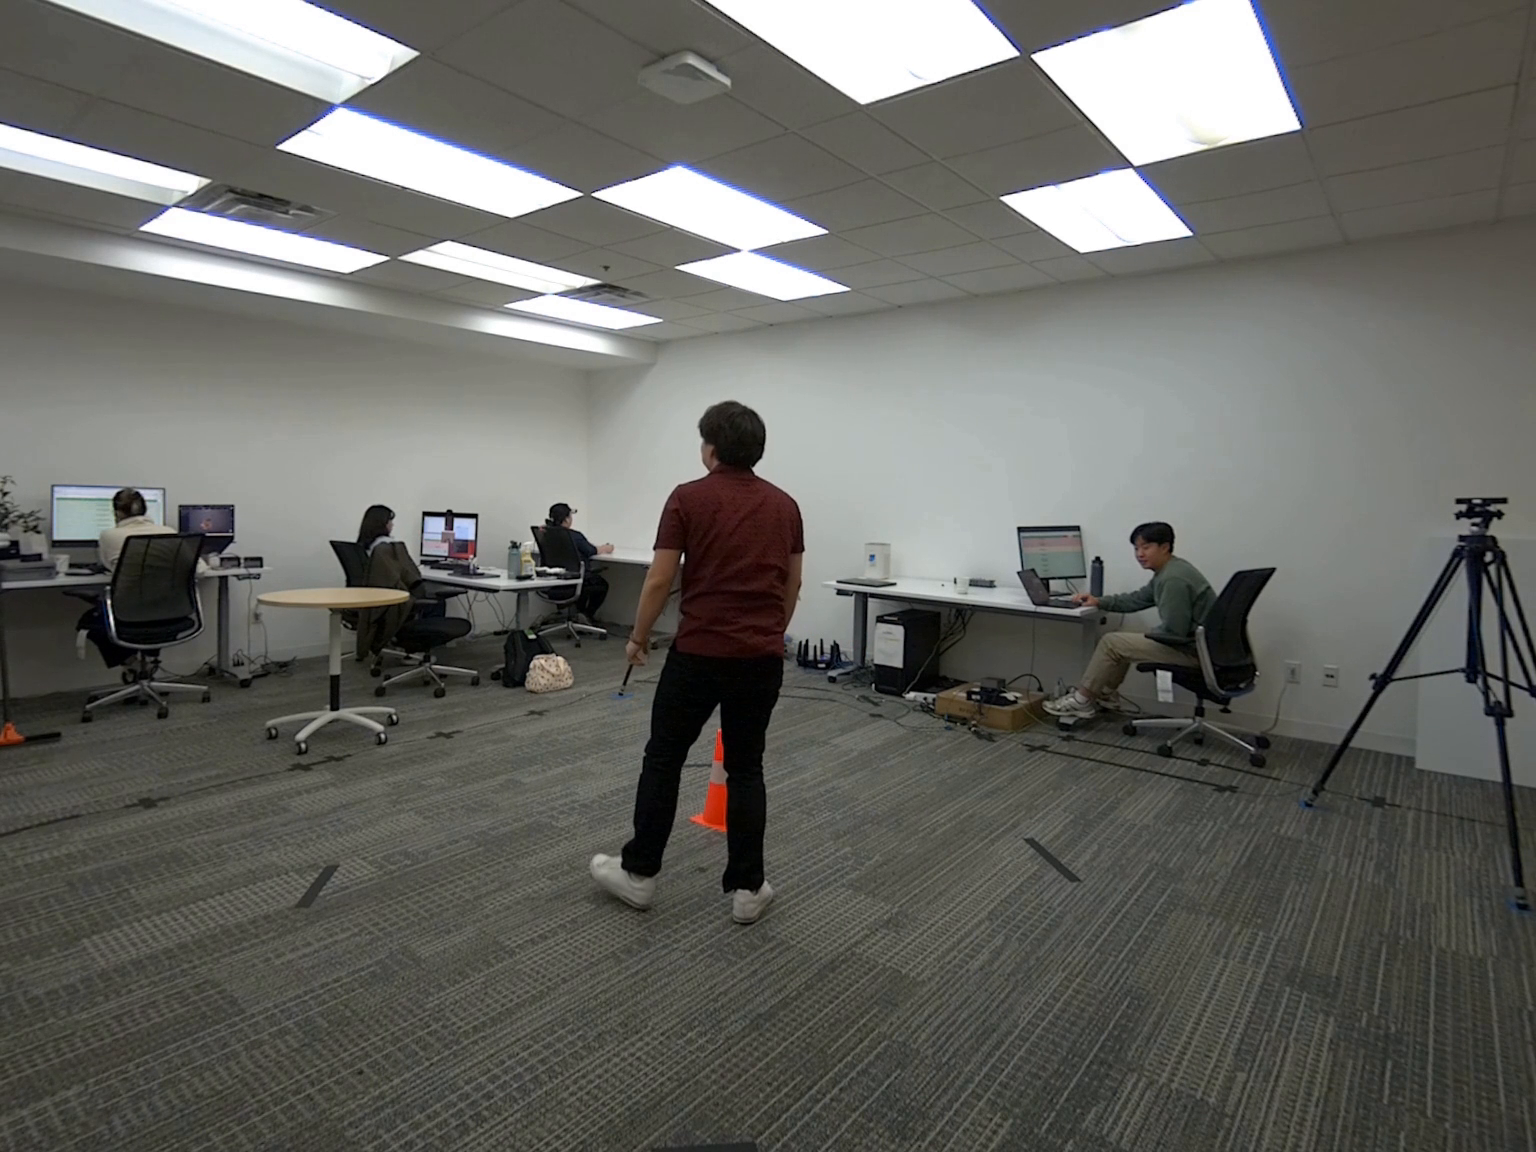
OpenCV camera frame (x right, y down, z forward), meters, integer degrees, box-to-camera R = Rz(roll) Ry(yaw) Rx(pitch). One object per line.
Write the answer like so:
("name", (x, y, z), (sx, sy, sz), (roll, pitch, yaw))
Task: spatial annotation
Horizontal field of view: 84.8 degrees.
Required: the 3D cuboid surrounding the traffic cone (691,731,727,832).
("traffic cone", (-0.210, 0.843, 3.593), (0.197, 0.383, 0.211), (0, 1, -33))
